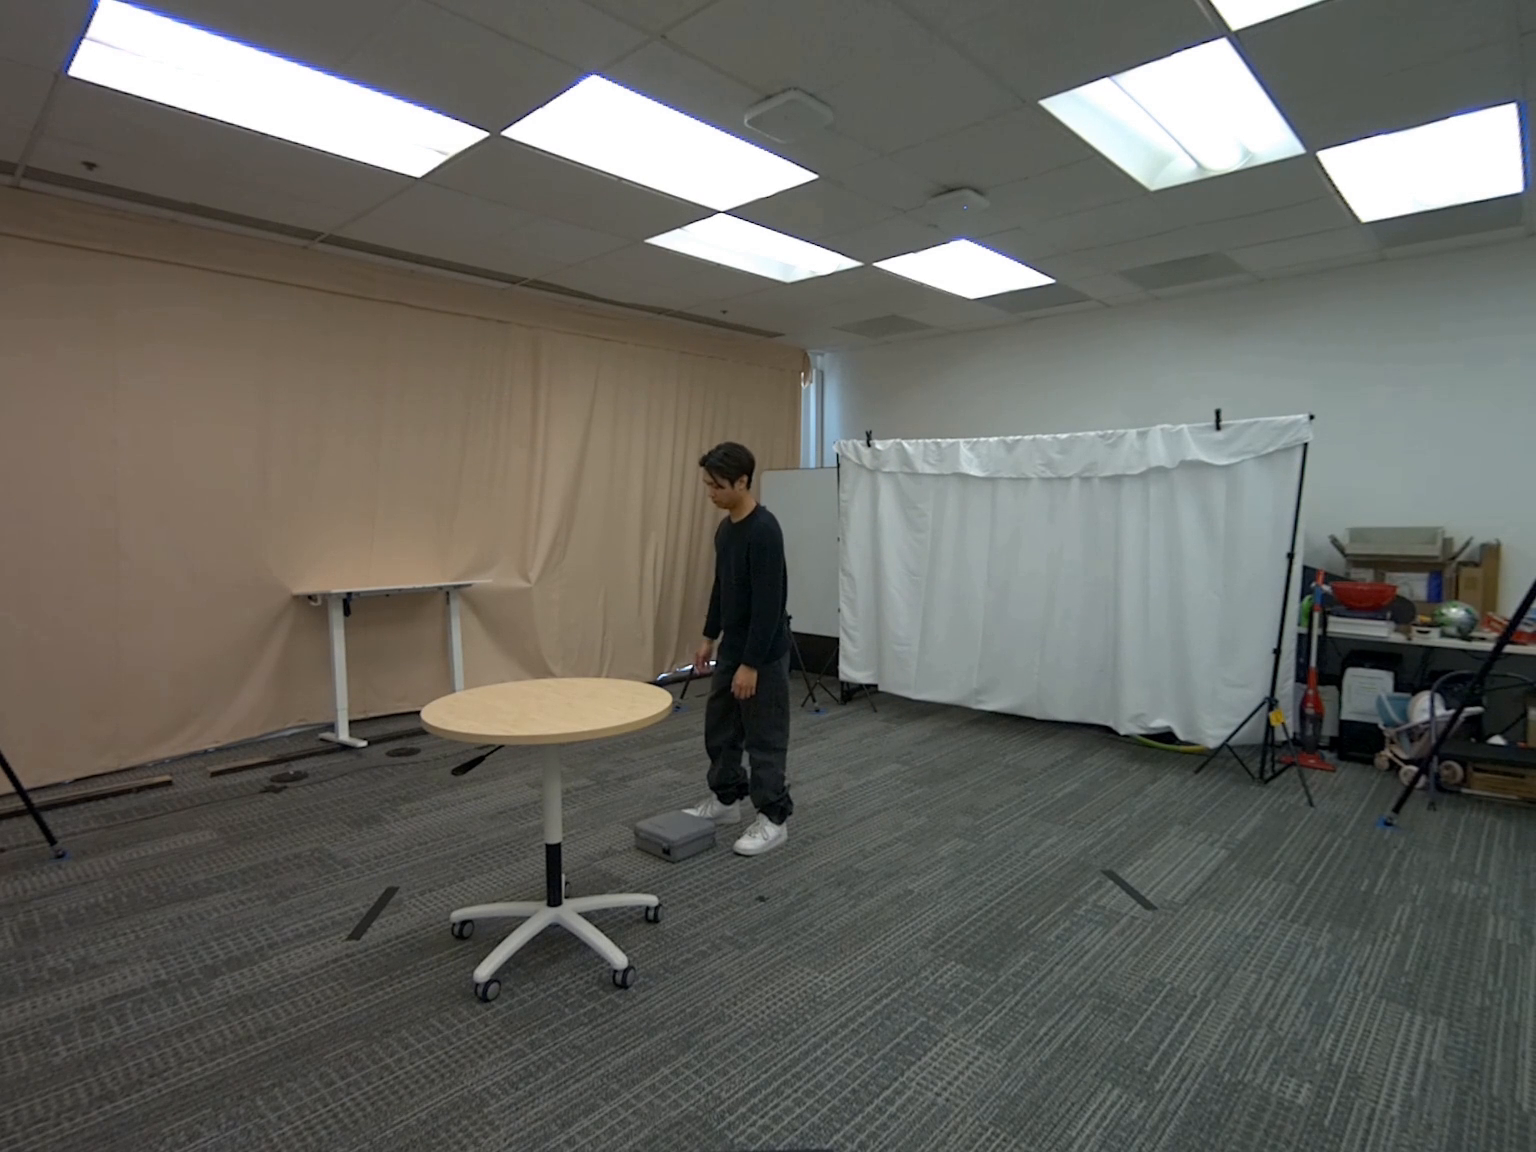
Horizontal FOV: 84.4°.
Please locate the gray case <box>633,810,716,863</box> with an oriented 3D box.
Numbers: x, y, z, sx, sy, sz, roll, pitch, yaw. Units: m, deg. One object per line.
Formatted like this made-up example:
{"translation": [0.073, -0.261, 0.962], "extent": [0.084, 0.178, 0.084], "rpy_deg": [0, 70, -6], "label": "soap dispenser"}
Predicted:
{"translation": [-0.383, 1.055, 3.446], "extent": [0.265, 0.104, 0.252], "rpy_deg": [1, 4, 43], "label": "gray case"}
